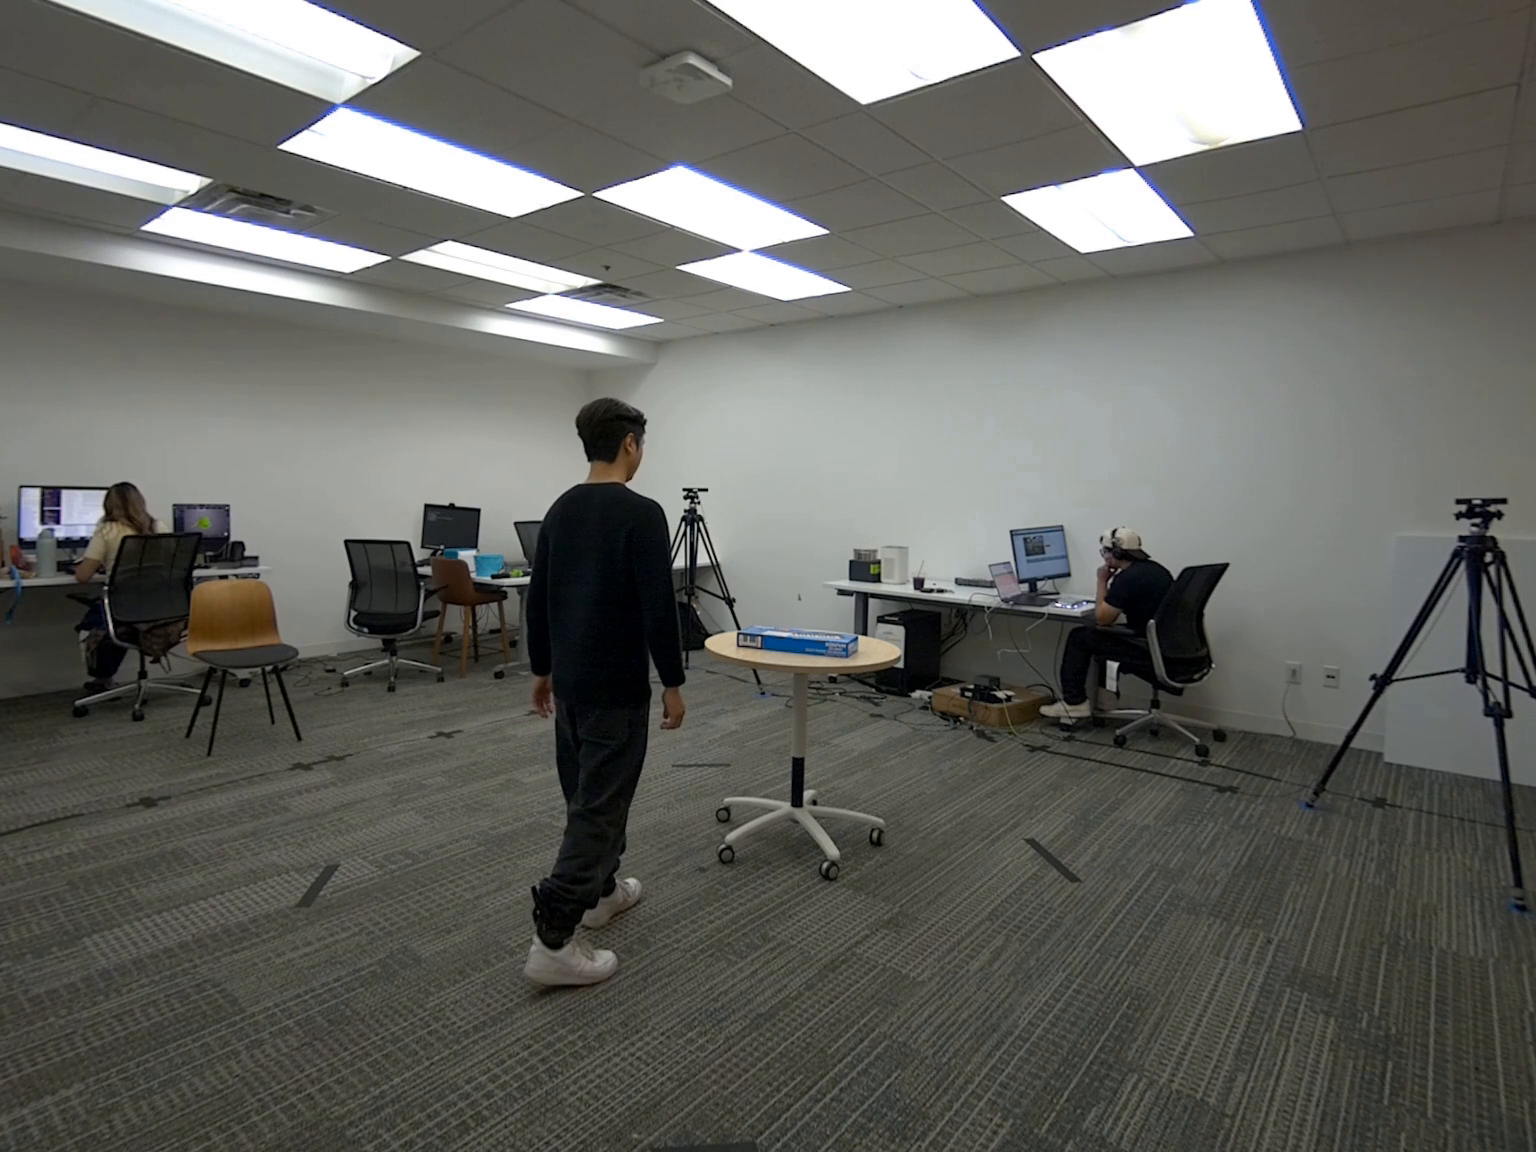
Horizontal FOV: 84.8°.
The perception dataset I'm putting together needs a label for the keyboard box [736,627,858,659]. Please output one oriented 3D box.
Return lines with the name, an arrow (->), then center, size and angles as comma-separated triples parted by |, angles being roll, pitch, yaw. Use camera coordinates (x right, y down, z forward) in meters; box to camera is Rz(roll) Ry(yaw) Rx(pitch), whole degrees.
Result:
keyboard box -> 0.102, 0.246, 3.275 | 0.447, 0.059, 0.173 | 4, 6, 20
